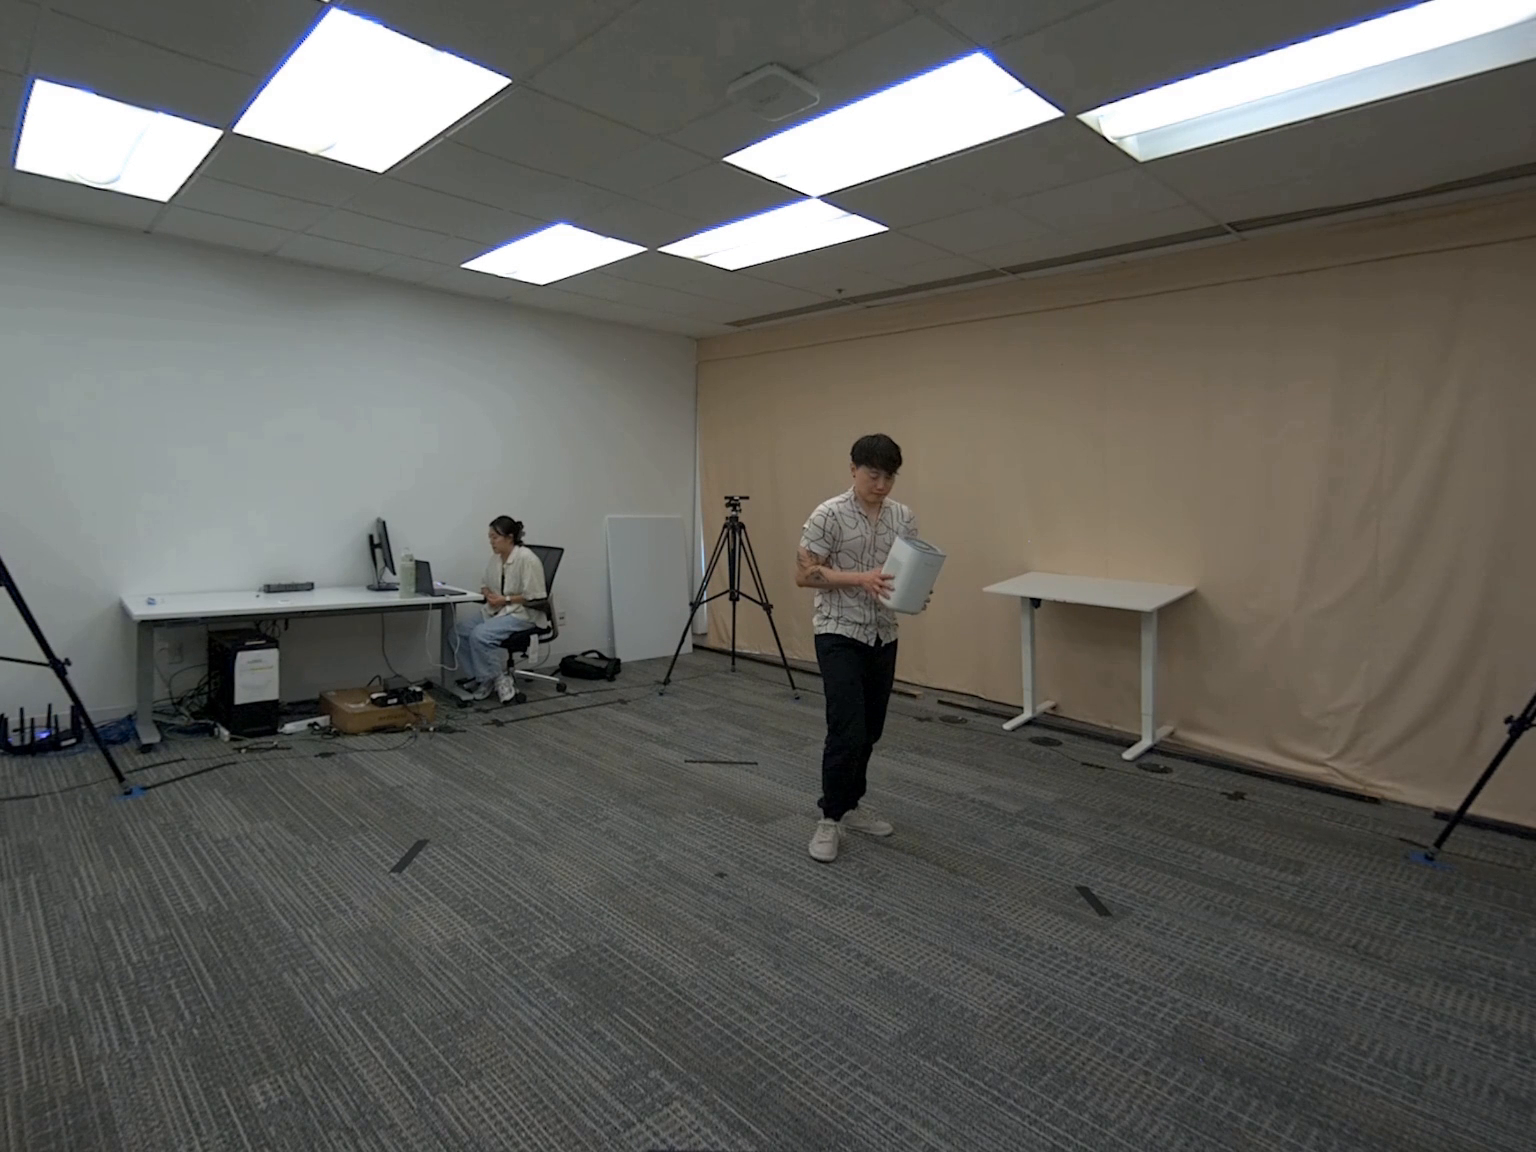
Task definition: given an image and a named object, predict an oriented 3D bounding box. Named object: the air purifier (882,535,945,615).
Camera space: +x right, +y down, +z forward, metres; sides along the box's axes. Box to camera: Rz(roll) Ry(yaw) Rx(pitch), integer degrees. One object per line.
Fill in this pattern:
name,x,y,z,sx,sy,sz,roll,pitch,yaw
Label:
air purifier,0.528,-0.008,3.218,0.168,0.263,0.176,11,19,-29
